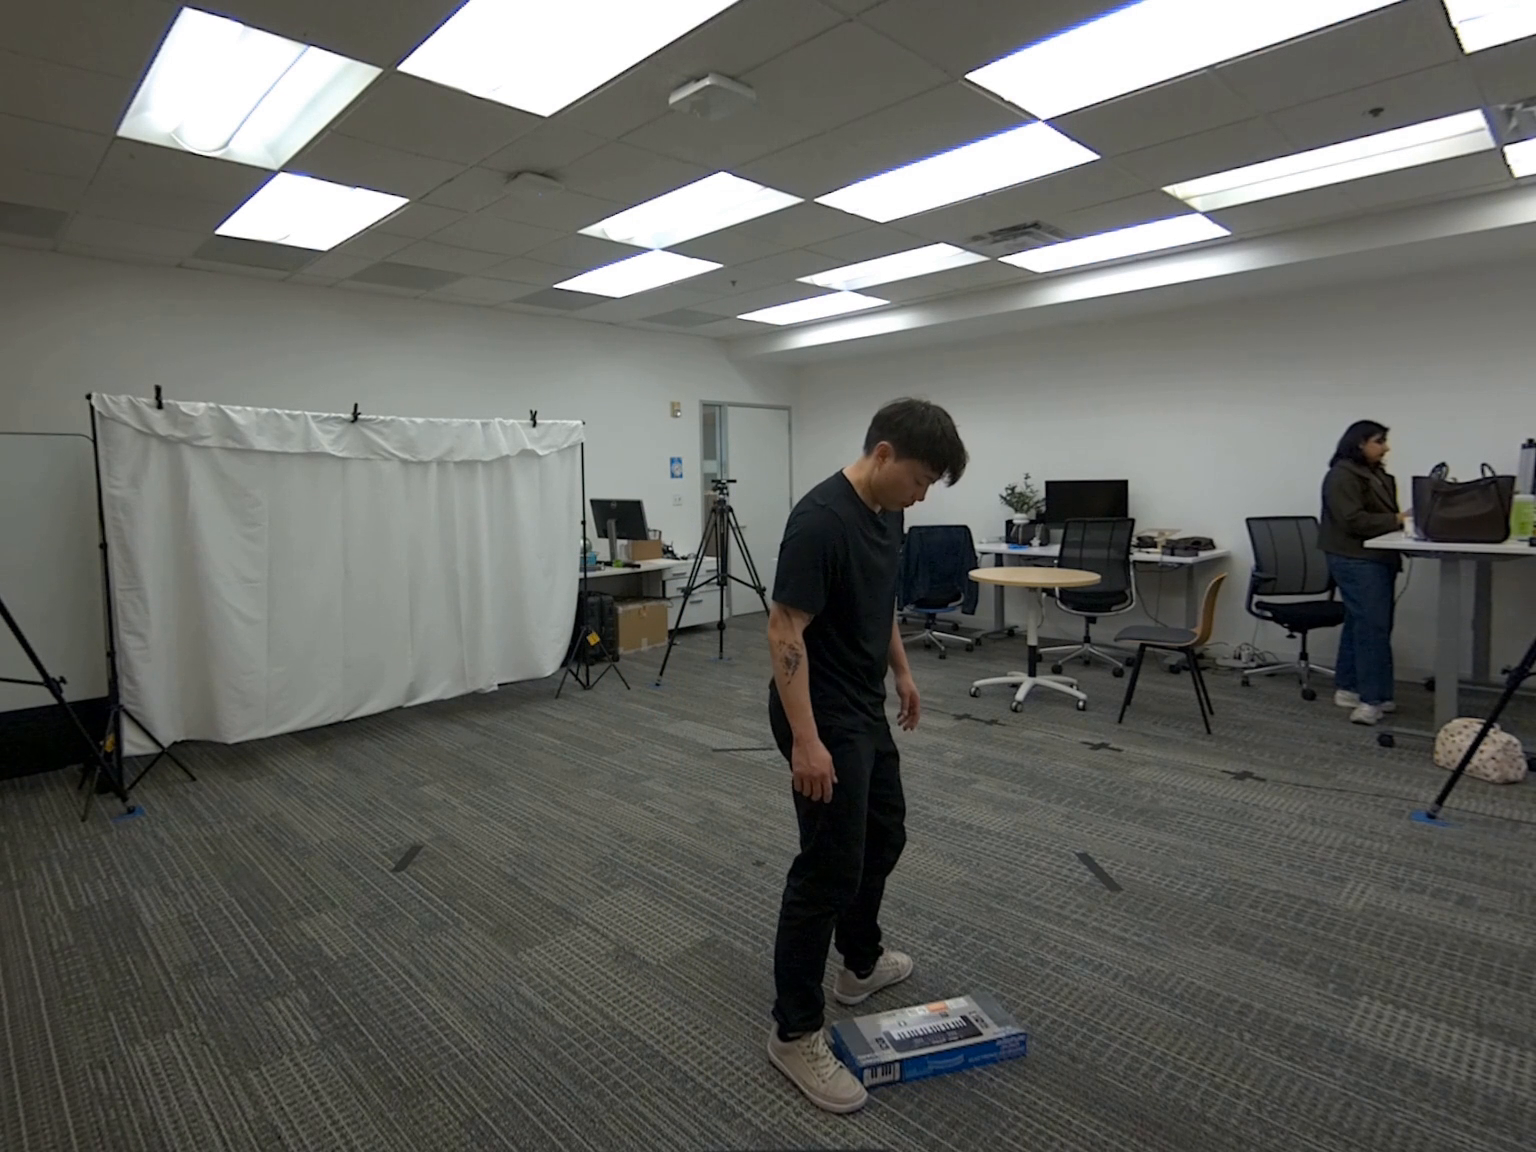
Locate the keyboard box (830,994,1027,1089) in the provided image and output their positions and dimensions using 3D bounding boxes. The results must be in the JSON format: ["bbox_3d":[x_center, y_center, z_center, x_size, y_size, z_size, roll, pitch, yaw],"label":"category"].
[{"bbox_3d":[0.397,1.126,2.085,0.431,0.059,0.179,-4,7,-15],"label":"keyboard box"}]
